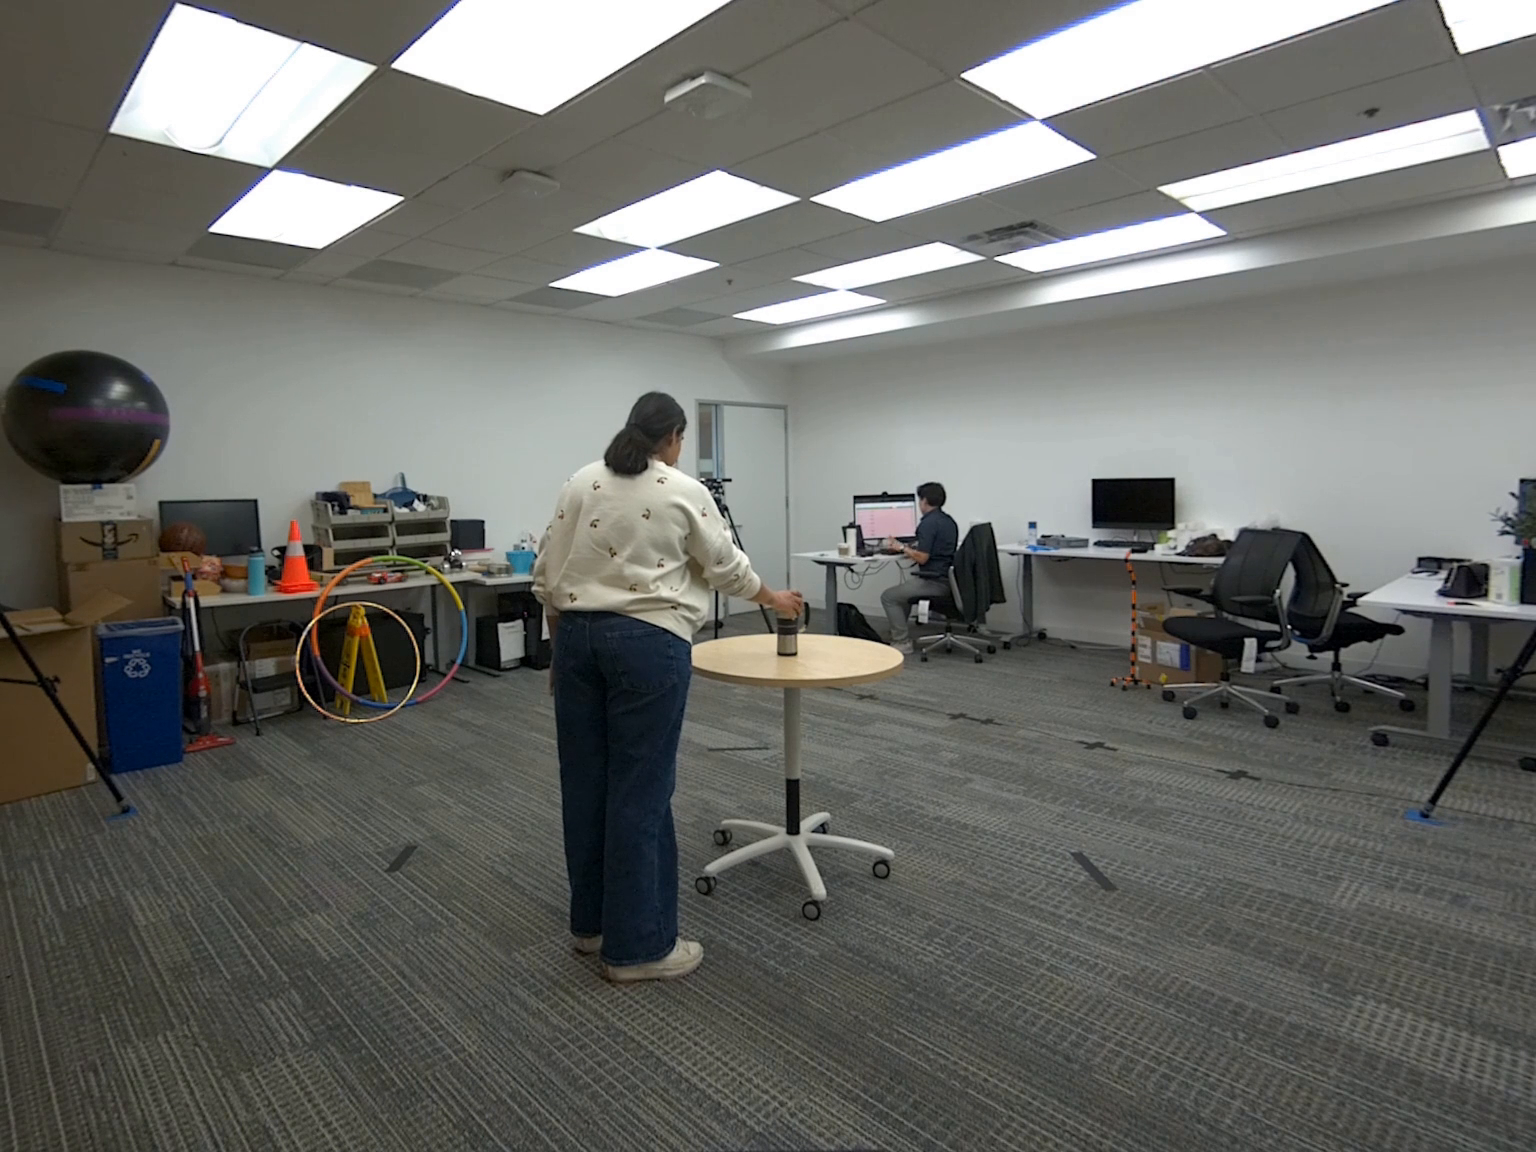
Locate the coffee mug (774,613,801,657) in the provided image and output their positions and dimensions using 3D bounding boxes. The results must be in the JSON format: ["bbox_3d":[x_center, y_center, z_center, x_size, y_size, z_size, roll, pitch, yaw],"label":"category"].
[{"bbox_3d":[0.097,0.181,2.949,0.125,0.203,0.085,2,2,42],"label":"coffee mug"}]
